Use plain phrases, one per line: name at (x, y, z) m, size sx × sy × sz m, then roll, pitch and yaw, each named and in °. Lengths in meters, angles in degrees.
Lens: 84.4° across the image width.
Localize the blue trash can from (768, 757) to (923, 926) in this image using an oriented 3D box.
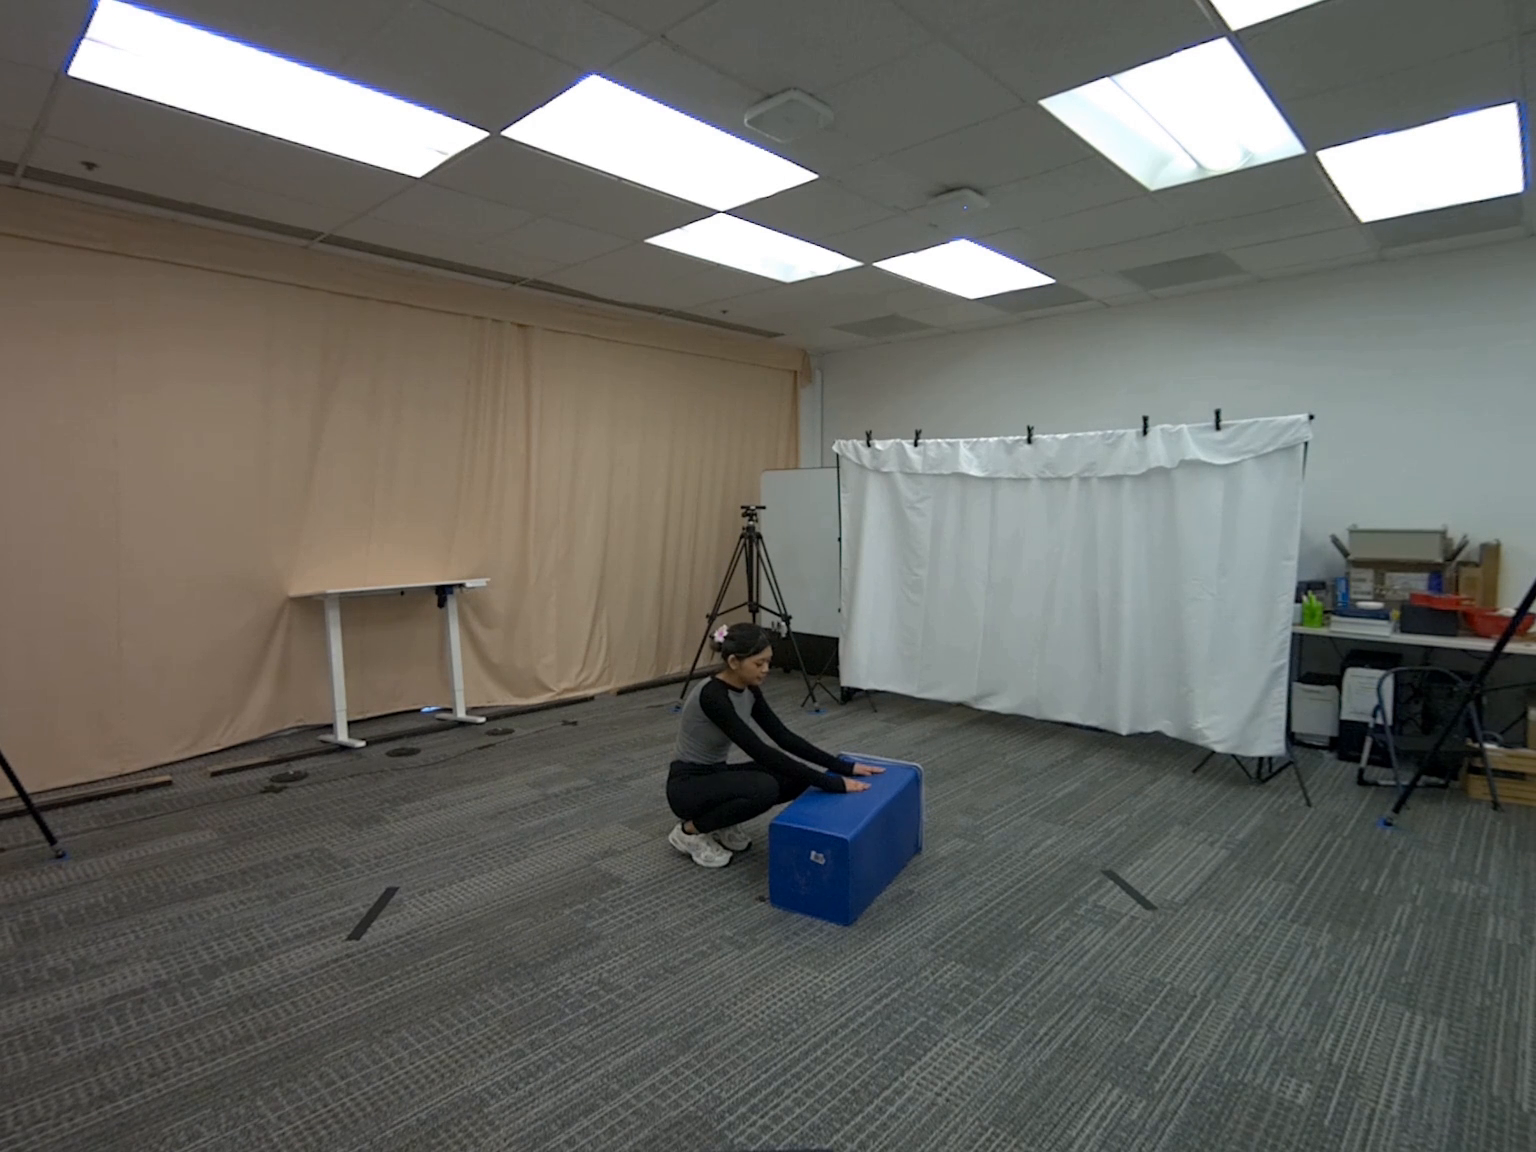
blue trash can at (0.298, 0.960, 3.141) m, size 0.385 × 0.376 × 0.696 m, roll 3°, pitch 7°, yaw 28°
